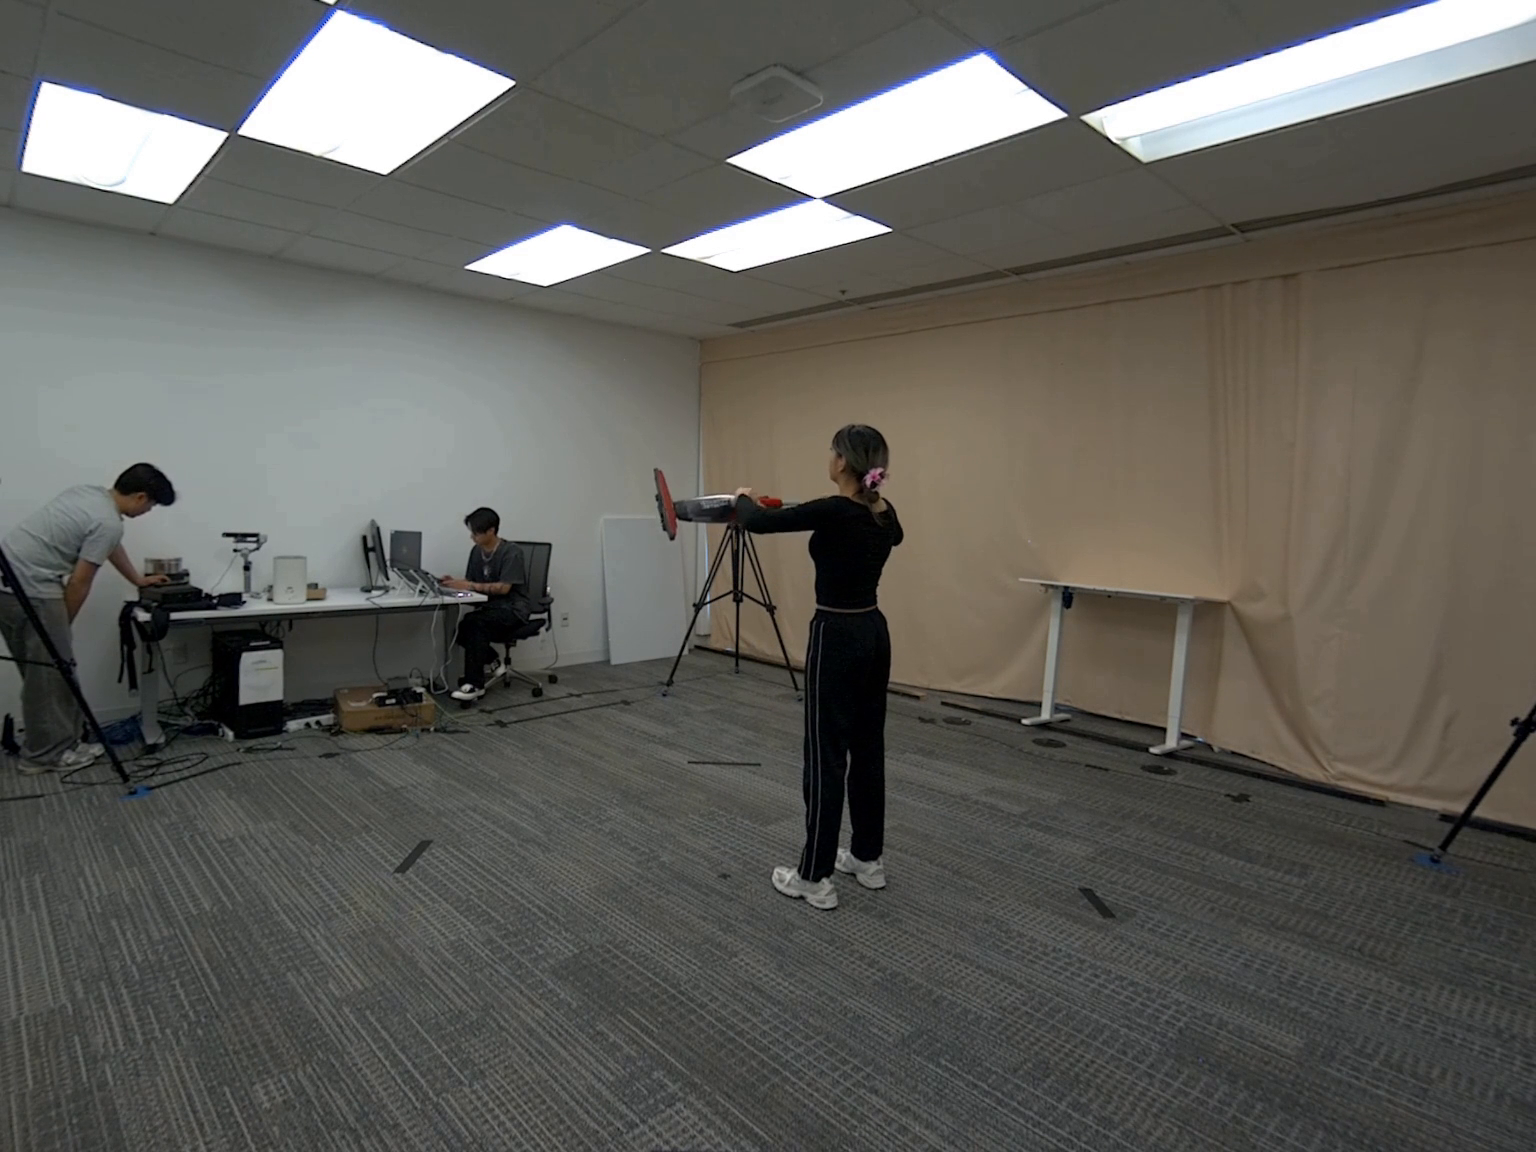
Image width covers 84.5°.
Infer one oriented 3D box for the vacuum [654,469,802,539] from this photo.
[{"bbox_3d":[0.029,-0.258,3.233,1.026,0.257,0.145,-3,-23,-39],"label":"vacuum"}]
